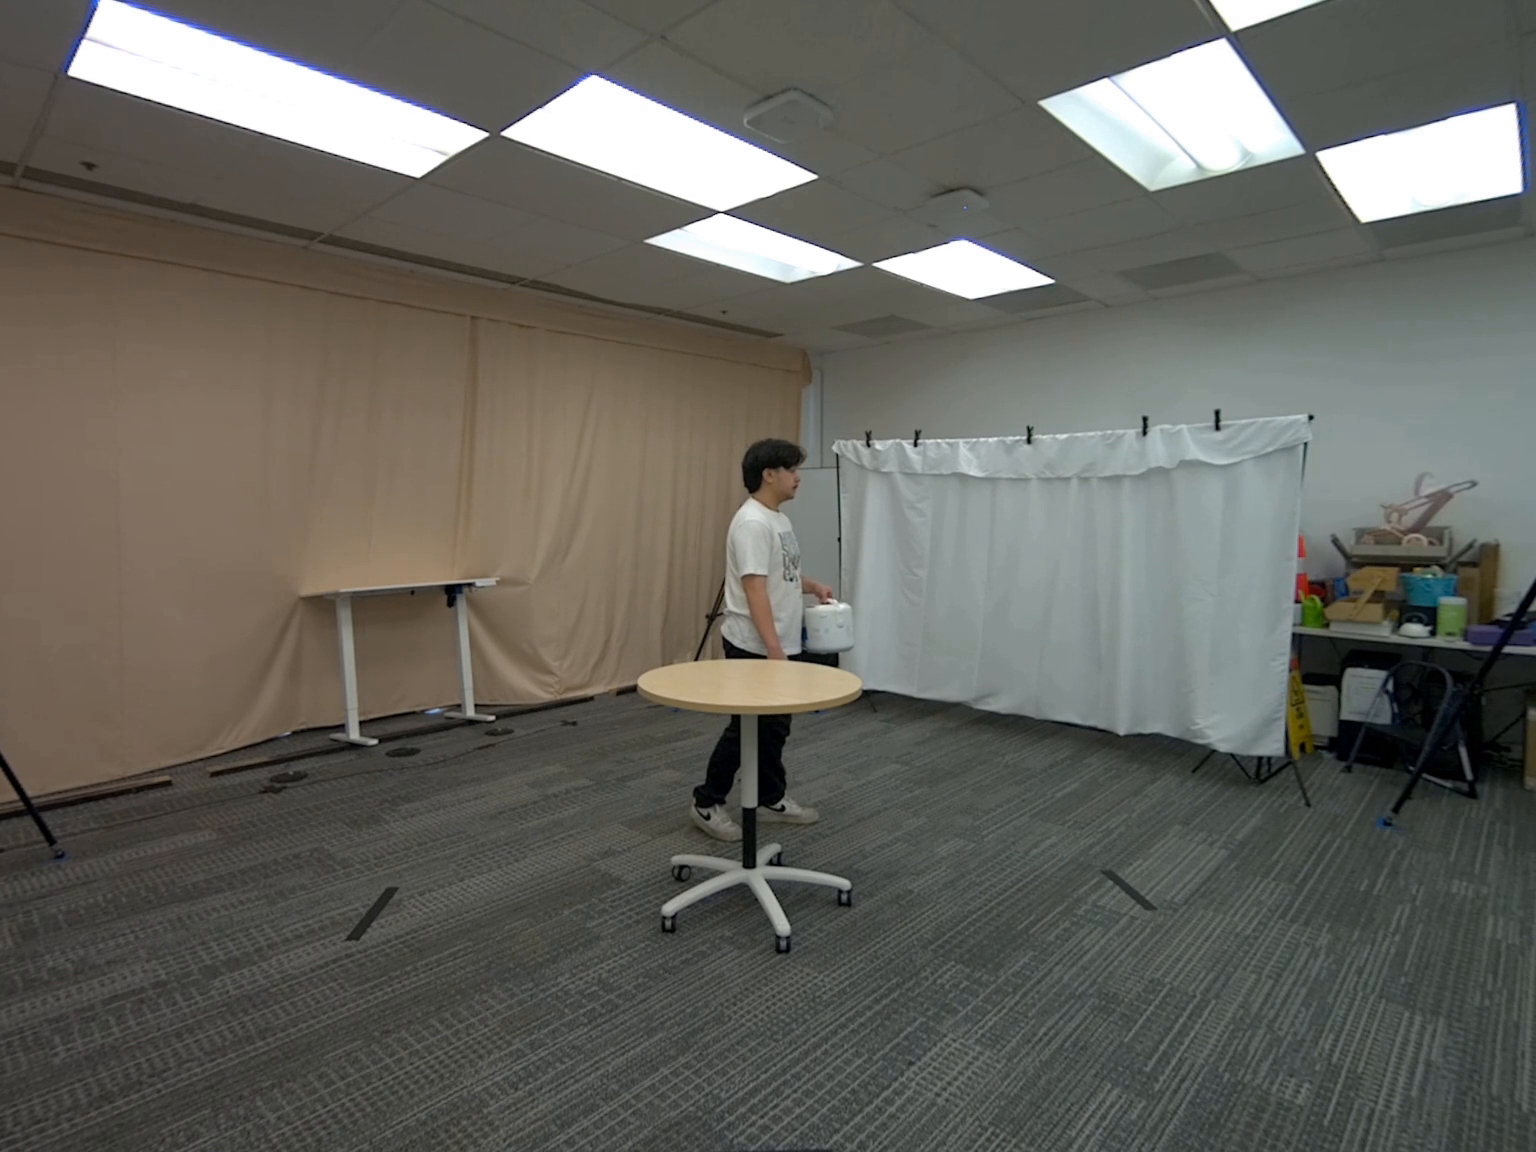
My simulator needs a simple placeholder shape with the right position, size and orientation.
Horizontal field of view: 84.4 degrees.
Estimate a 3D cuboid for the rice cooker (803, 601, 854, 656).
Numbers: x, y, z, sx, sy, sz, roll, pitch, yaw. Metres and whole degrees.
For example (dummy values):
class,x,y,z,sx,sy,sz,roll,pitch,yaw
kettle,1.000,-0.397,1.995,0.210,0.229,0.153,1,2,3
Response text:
class,x,y,z,sx,sy,sz,roll,pitch,yaw
rice cooker,0.267,0.214,3.655,0.213,0.233,0.225,-4,1,-23
